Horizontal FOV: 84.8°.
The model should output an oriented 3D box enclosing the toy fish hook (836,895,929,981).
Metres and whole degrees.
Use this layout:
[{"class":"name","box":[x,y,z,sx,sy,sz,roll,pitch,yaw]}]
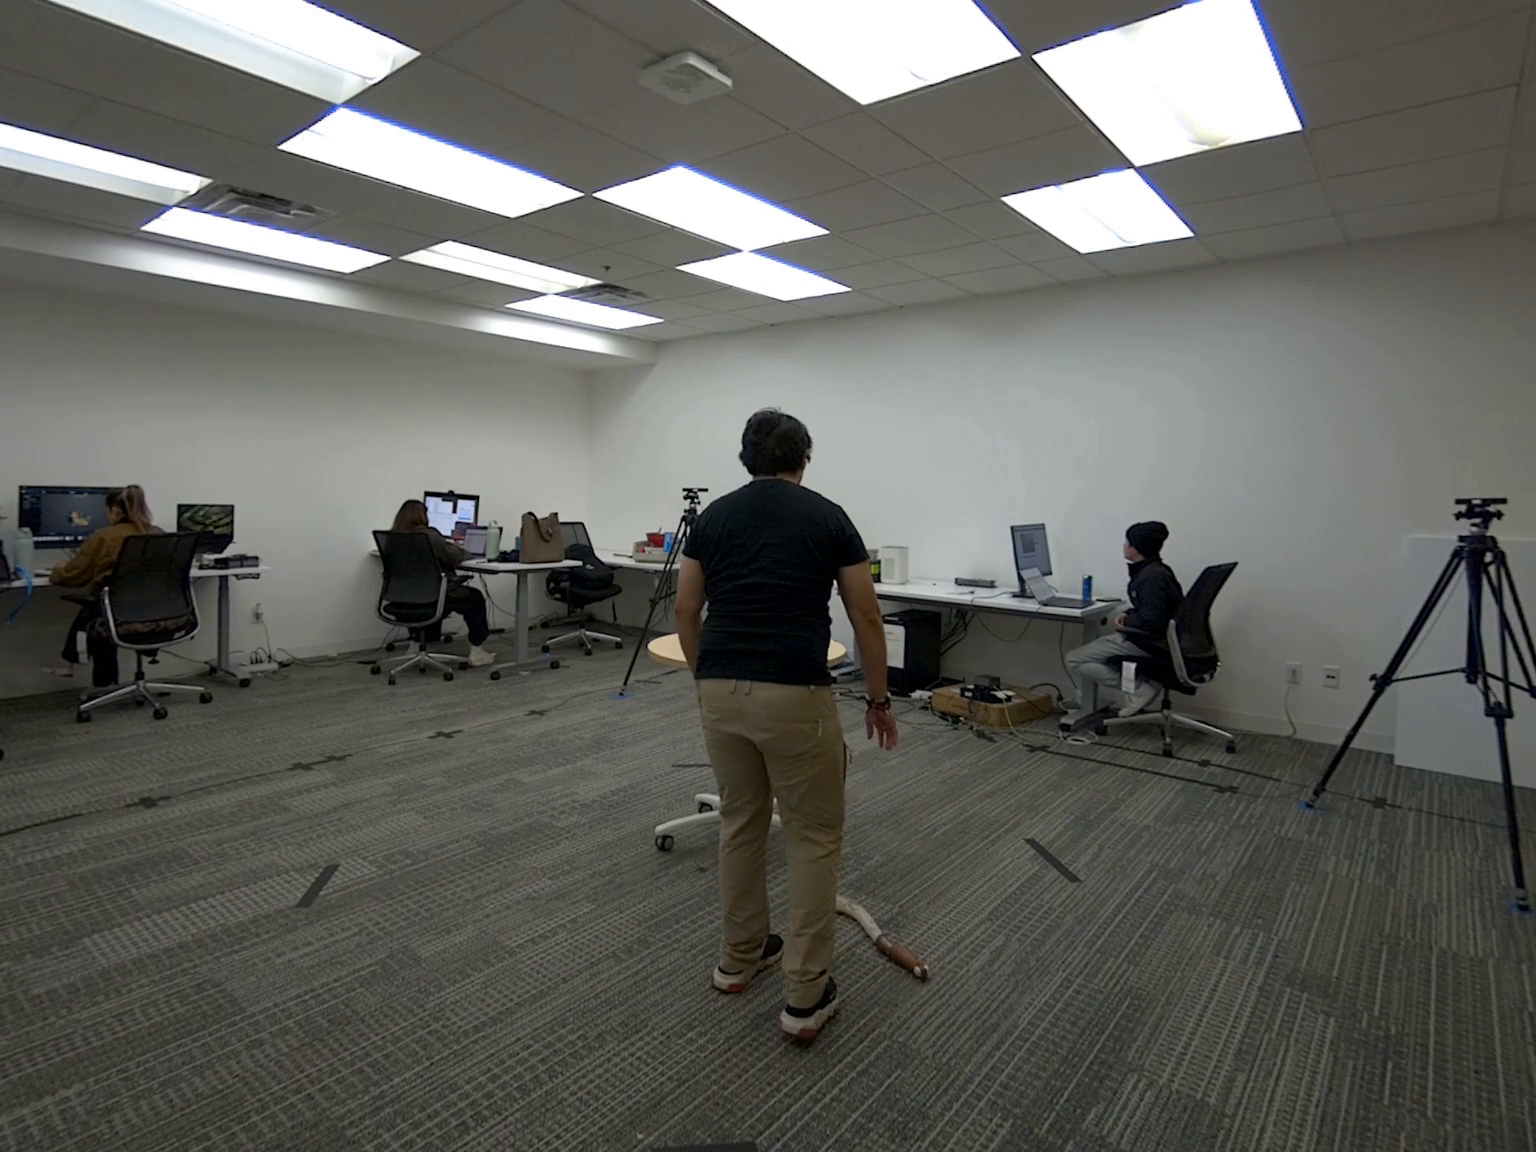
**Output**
[{"class":"toy fish hook","box":[0.273,1.113,2.621,0.219,0.048,0.522,-9,10,-29]}]
